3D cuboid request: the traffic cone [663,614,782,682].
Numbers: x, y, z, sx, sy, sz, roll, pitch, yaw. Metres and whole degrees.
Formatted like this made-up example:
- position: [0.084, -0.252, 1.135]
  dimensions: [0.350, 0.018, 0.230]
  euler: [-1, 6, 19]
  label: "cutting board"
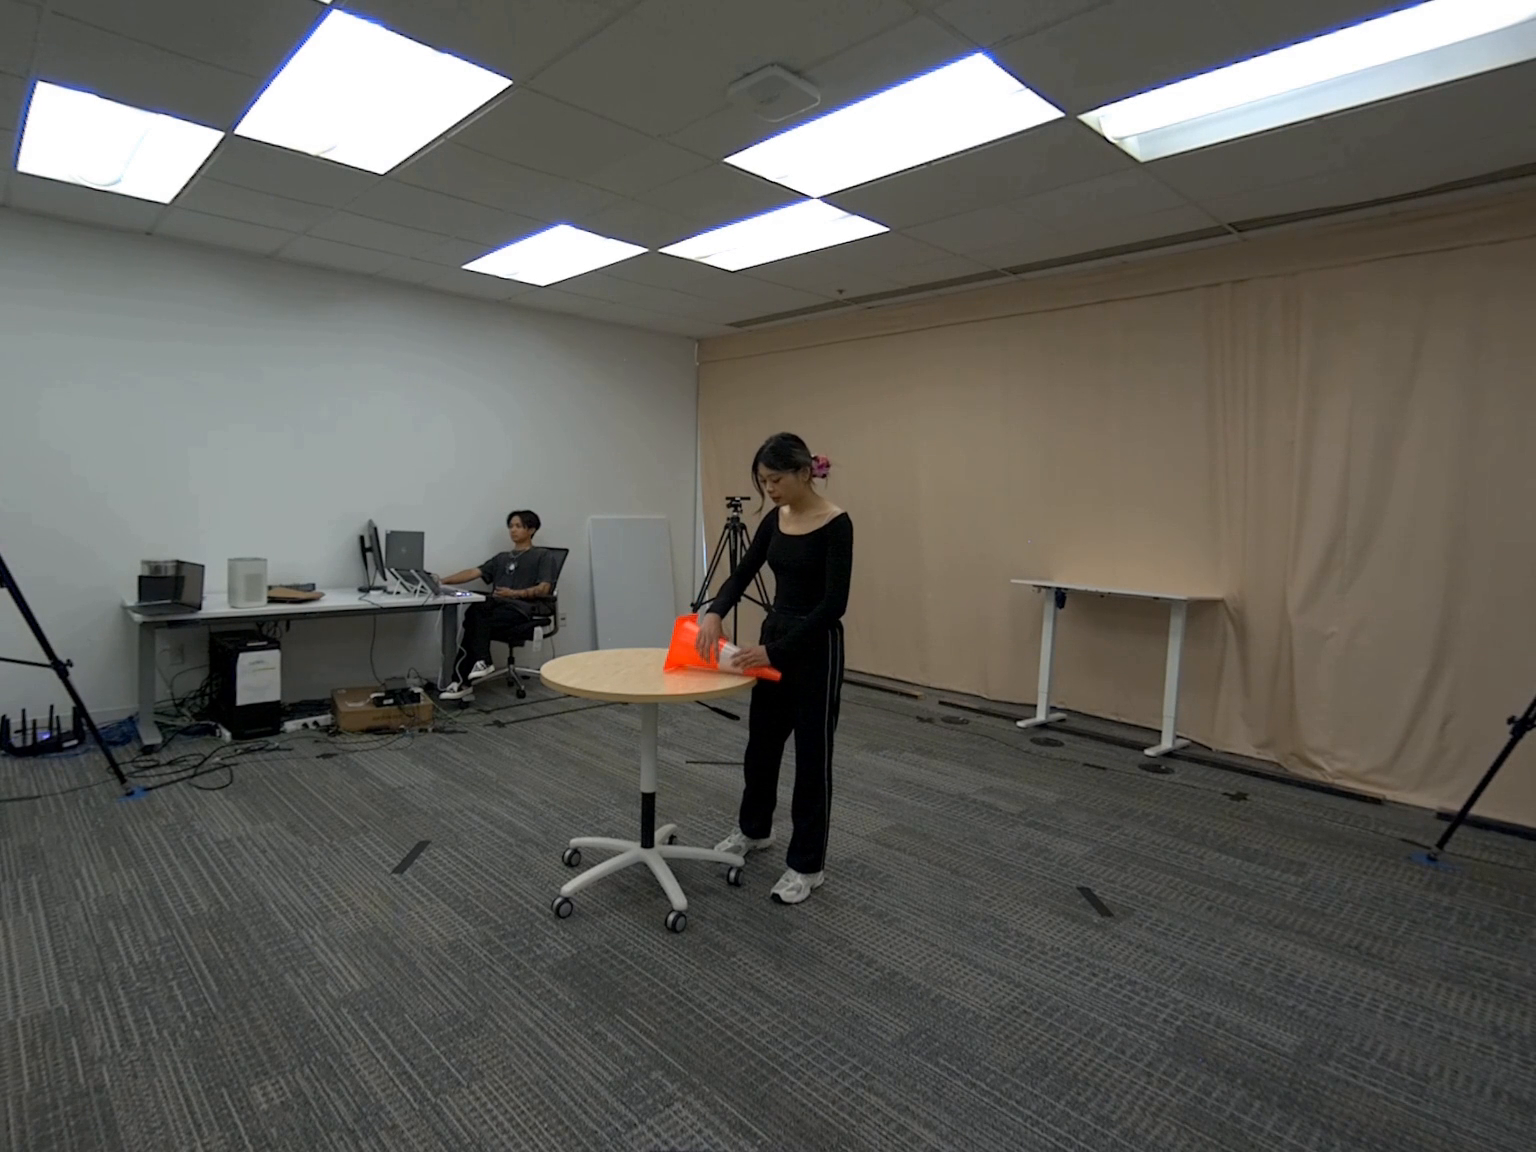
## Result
- position: [-0.136, 0.285, 2.933]
  dimensions: [0.390, 0.203, 0.202]
  euler: [17, 5, 16]
  label: "traffic cone"
